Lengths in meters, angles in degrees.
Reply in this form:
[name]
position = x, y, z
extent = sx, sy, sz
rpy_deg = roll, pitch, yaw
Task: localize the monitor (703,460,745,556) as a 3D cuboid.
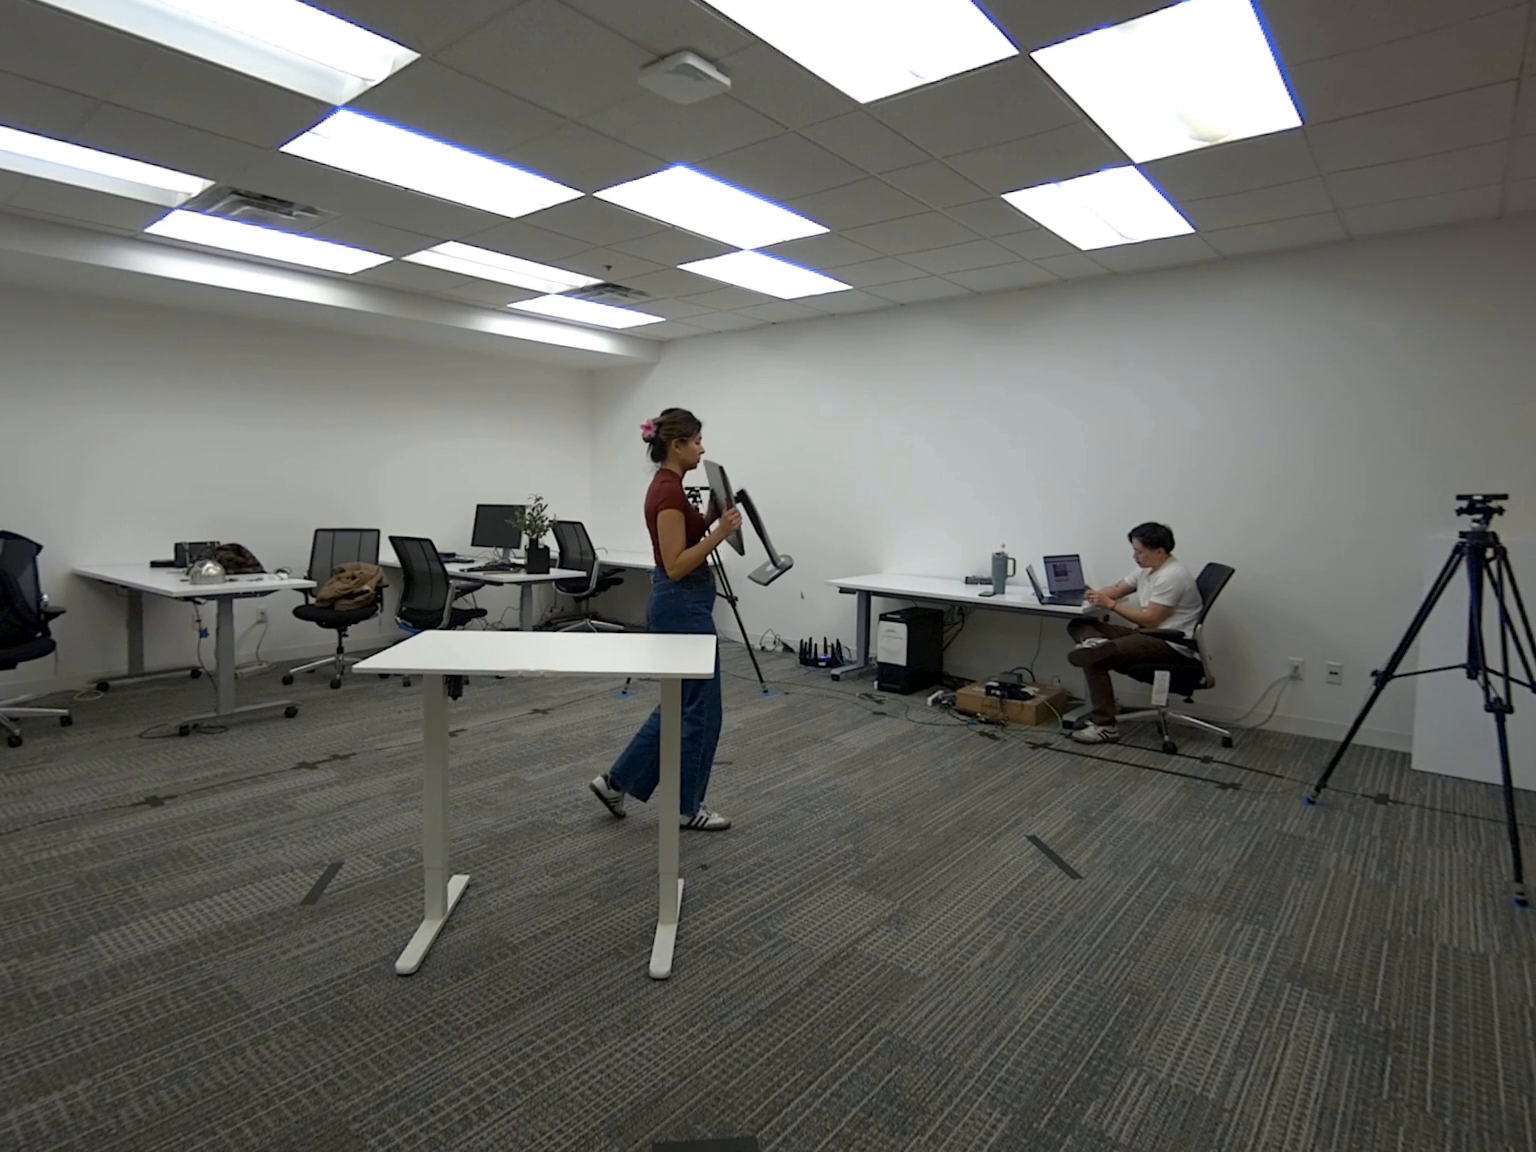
[monitor]
position = -0.127, -0.231, 3.463
extent = 0.186, 0.515, 0.549
rpy_deg = -31, 12, -6
